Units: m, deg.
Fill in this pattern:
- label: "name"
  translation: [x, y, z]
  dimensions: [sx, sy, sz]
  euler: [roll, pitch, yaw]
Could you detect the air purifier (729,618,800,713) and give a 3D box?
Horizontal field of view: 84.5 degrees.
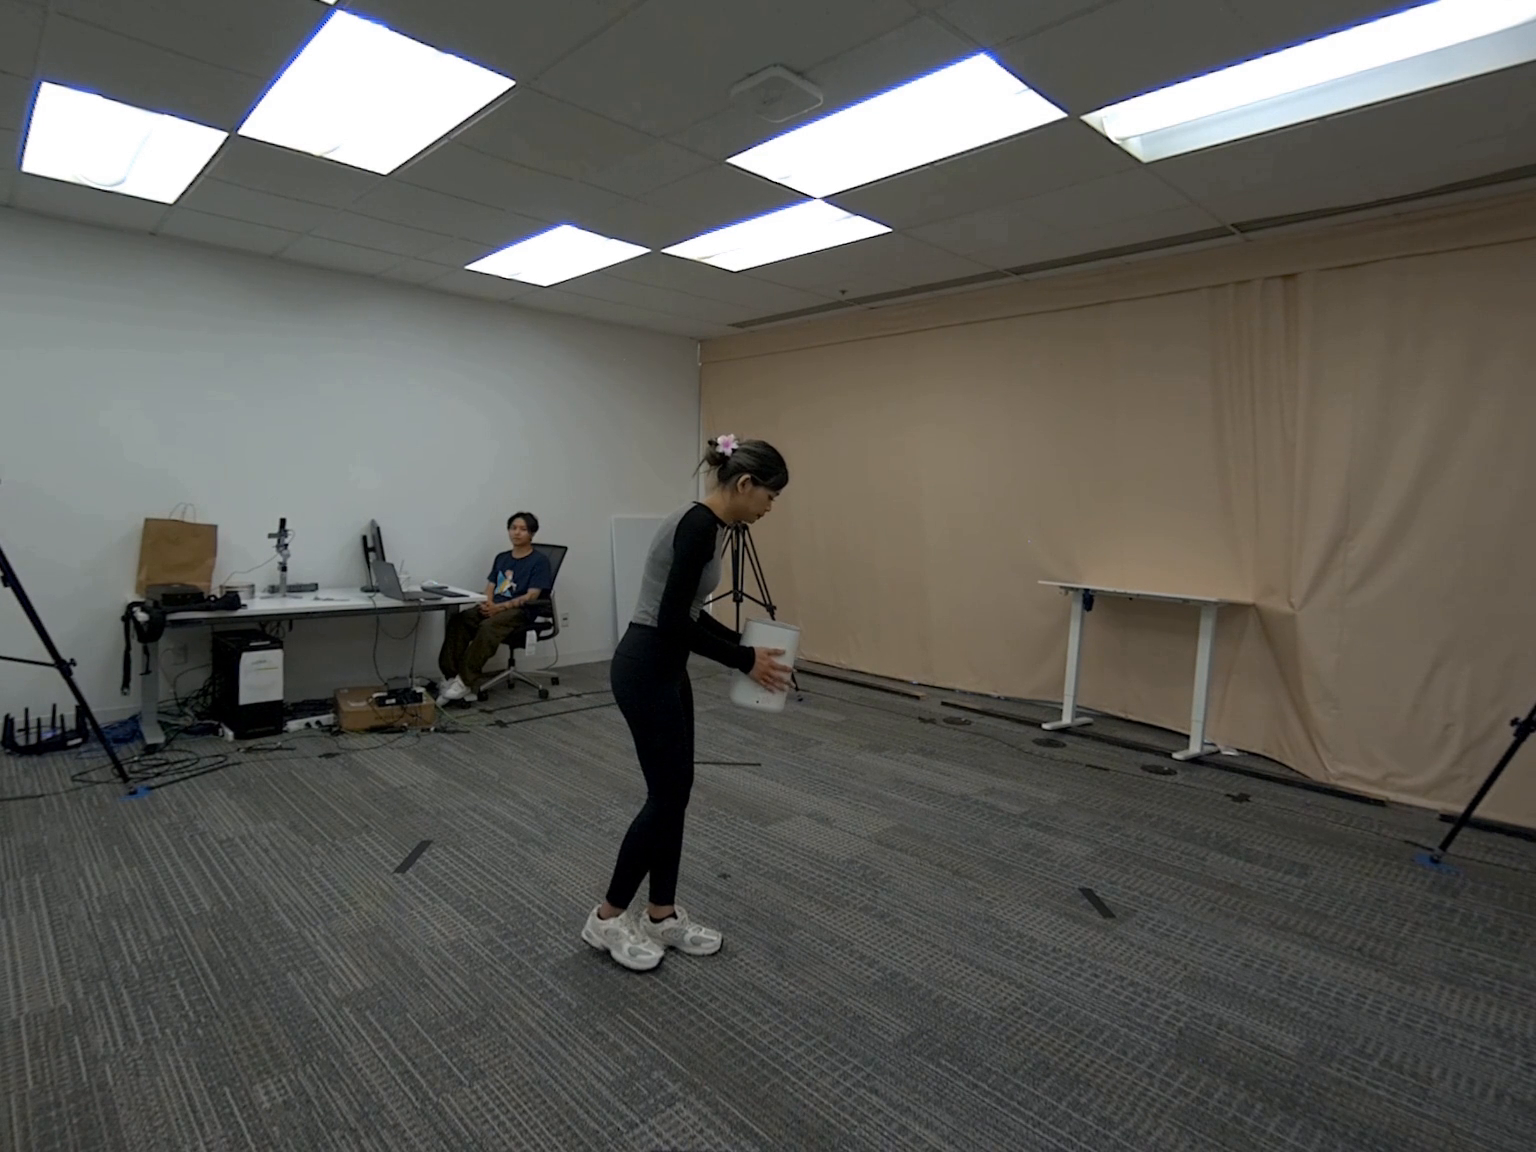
- label: "air purifier"
  translation: [-0.024, 0.271, 2.540]
  dimensions: [0.171, 0.265, 0.172]
  euler: [11, 1, -2]
